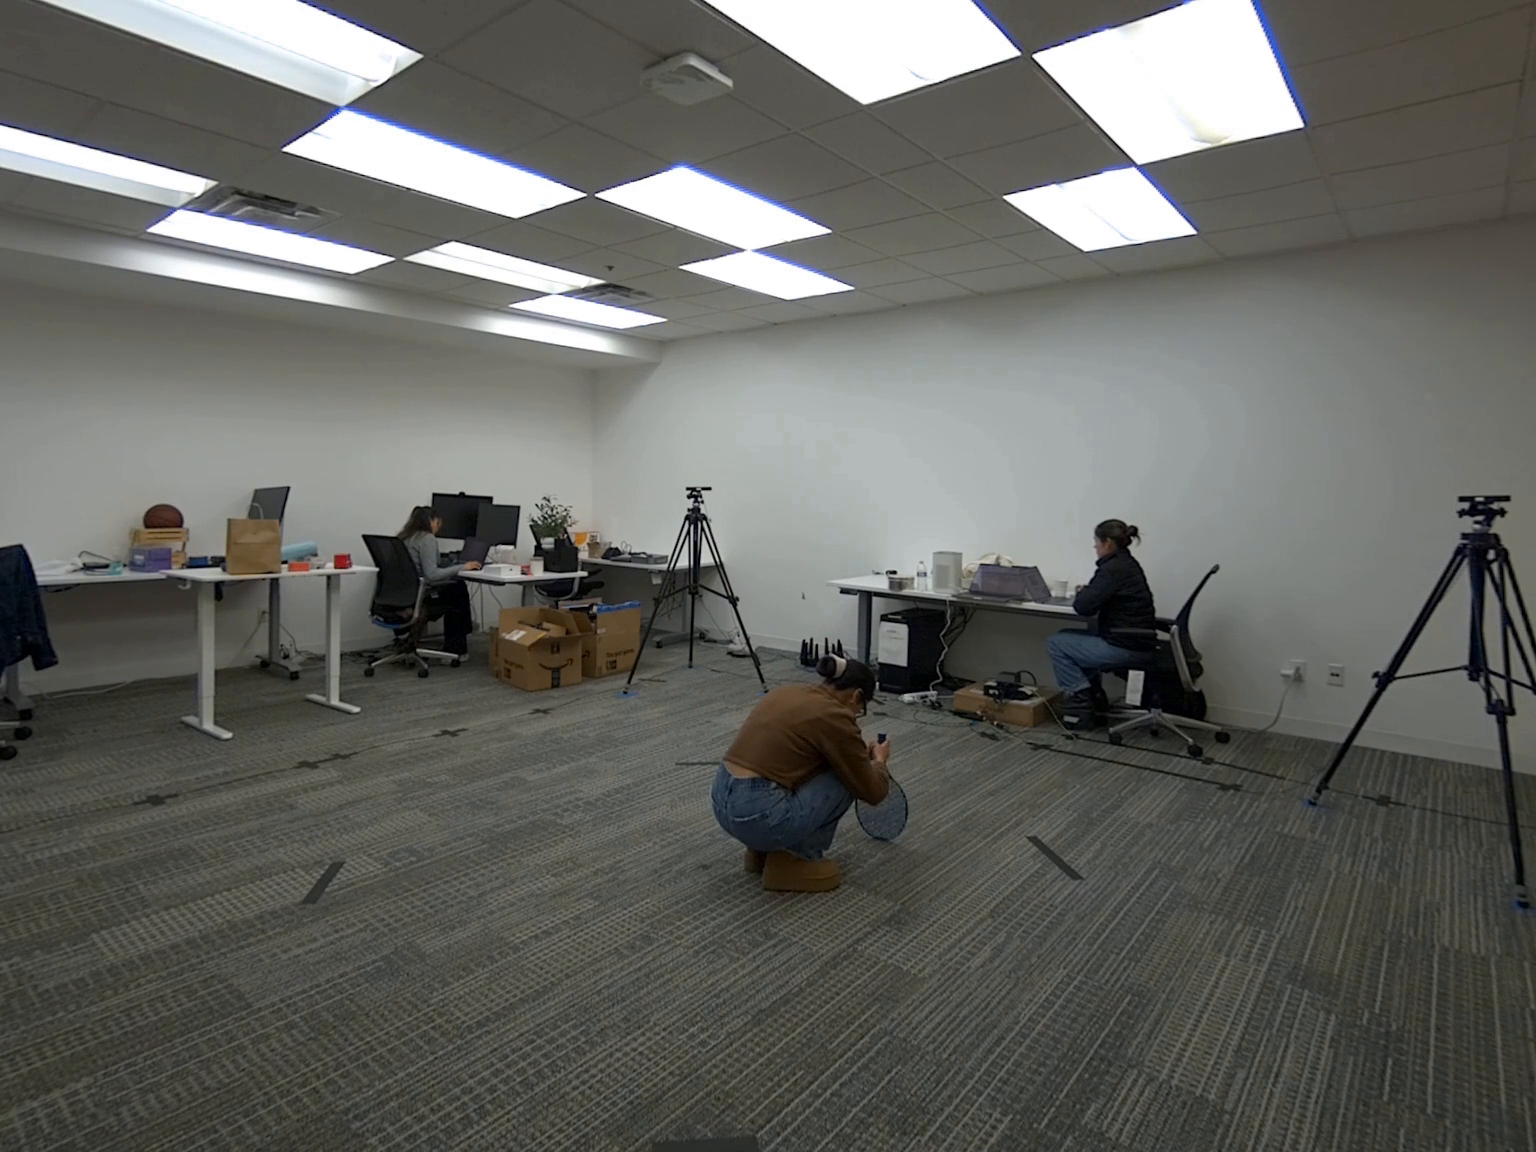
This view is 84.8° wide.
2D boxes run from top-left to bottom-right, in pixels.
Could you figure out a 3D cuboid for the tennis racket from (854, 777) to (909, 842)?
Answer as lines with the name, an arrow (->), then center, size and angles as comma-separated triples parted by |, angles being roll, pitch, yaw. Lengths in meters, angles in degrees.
tennis racket -> 0.441, 0.834, 3.382 | 0.219, 0.431, 0.031 | 0, 4, 24
